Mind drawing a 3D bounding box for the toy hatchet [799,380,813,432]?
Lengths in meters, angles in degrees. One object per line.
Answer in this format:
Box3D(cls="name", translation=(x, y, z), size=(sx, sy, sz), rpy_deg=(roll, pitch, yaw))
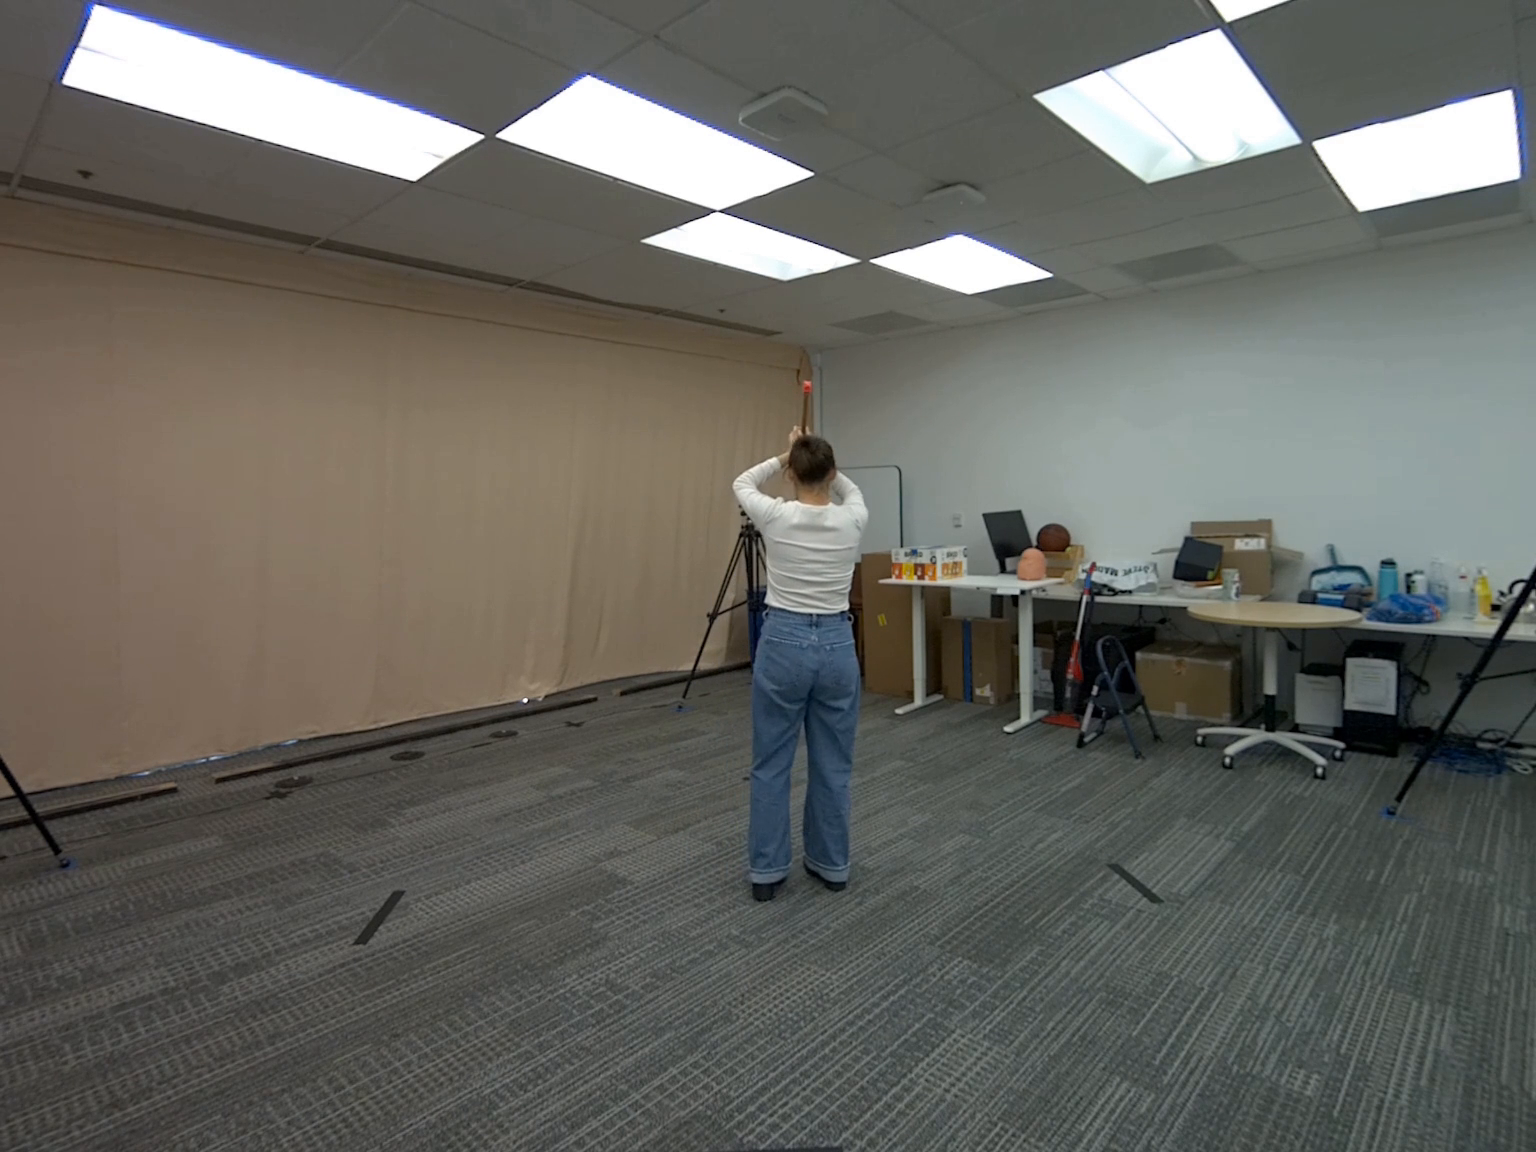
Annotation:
Box3D(cls="toy hatchet", translation=(0.137, -0.620, 3.211), size=(0.029, 0.267, 0.133), rpy_deg=(4, 23, -4))
